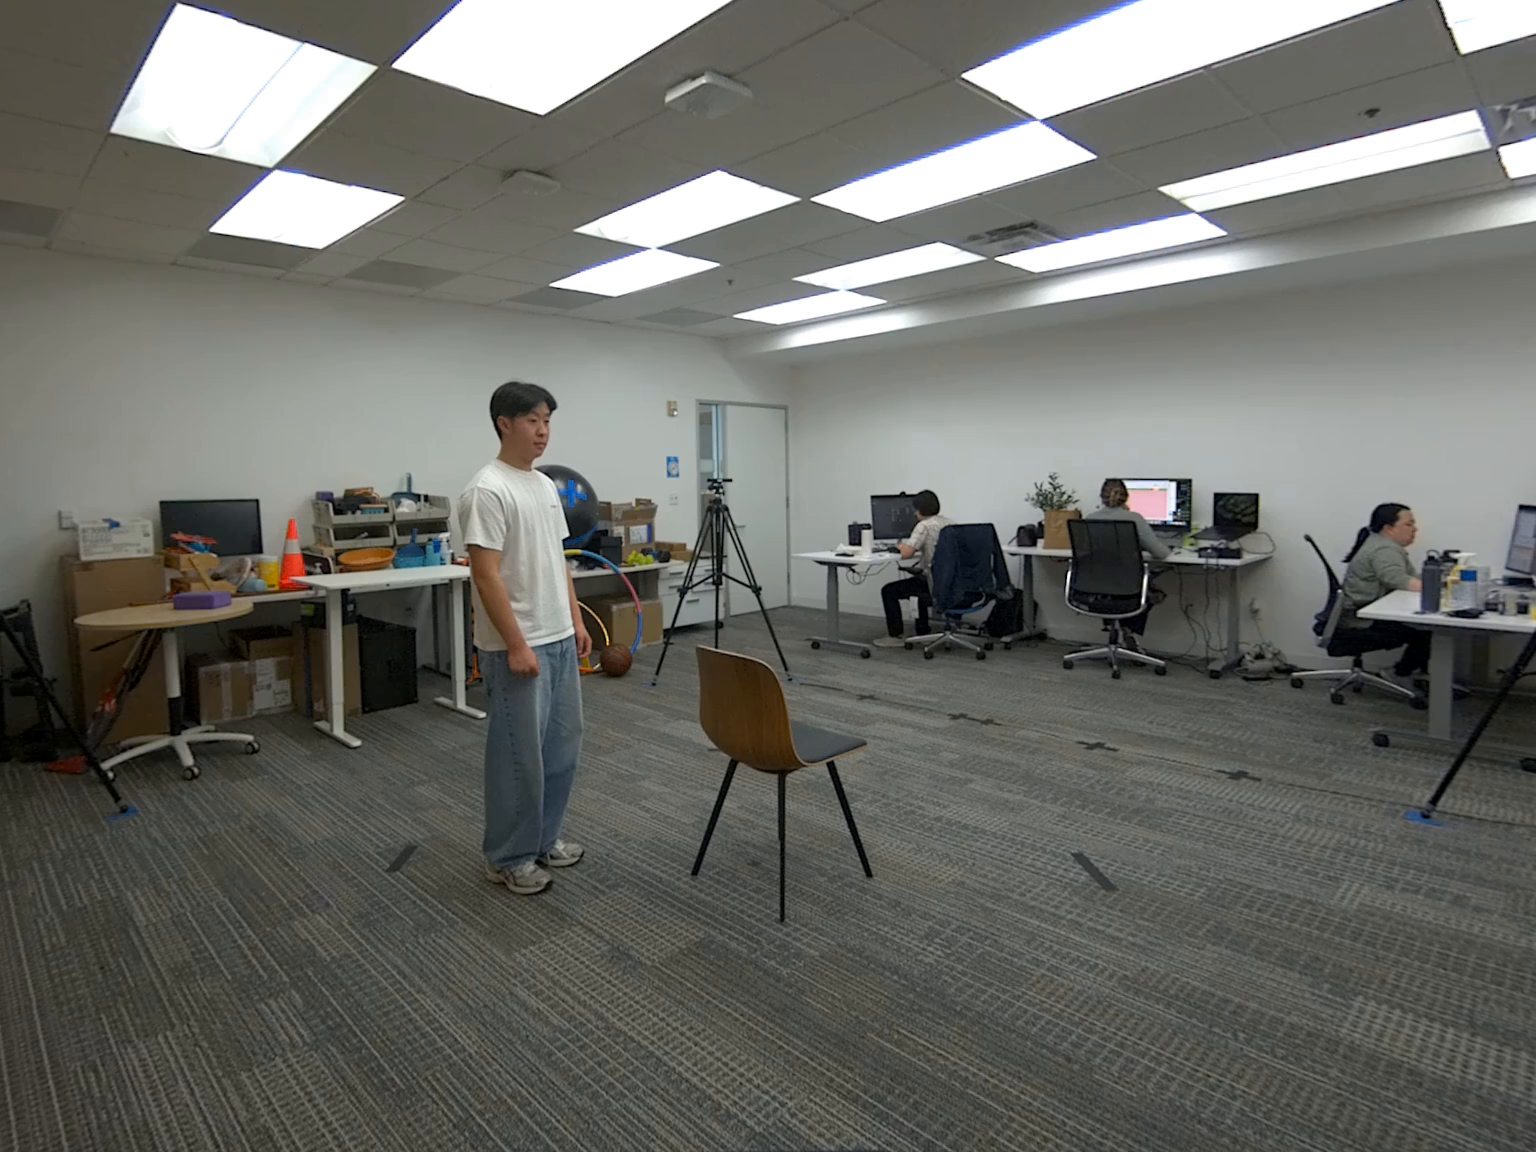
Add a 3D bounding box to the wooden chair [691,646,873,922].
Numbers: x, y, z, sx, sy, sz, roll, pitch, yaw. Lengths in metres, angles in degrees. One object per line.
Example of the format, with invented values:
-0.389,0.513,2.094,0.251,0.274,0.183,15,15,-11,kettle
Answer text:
0.047,0.629,2.969,0.511,0.871,0.493,-11,10,-43,wooden chair
